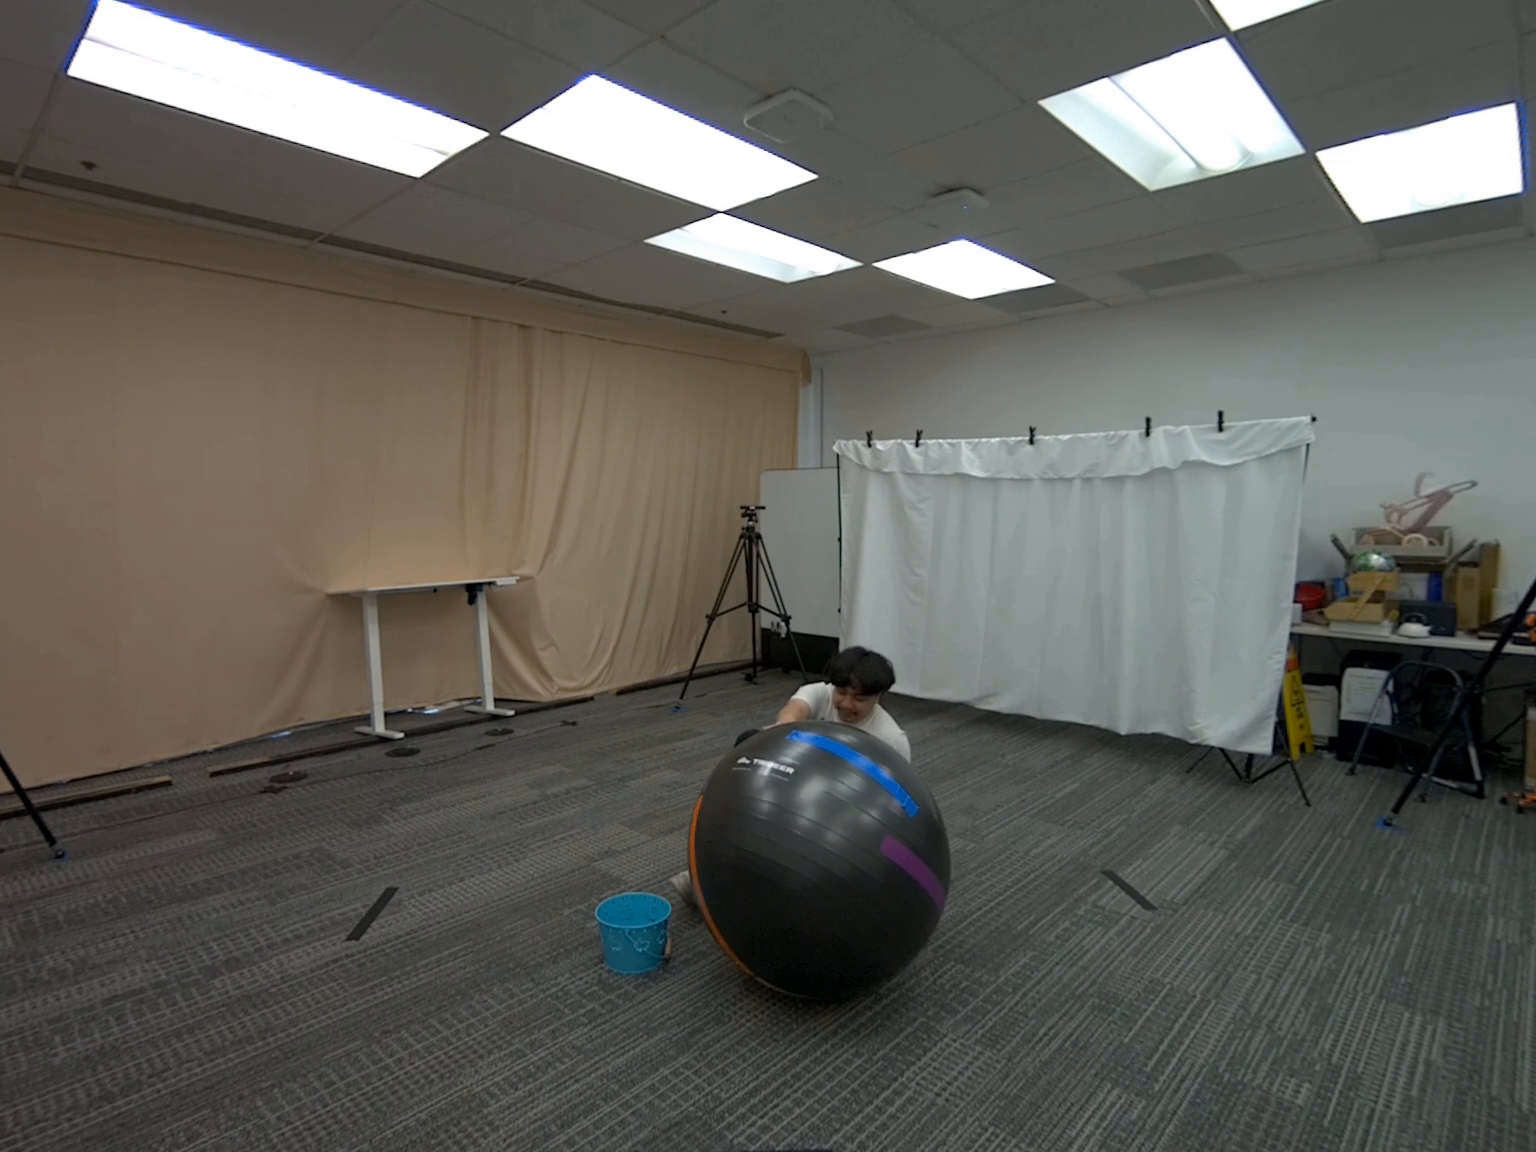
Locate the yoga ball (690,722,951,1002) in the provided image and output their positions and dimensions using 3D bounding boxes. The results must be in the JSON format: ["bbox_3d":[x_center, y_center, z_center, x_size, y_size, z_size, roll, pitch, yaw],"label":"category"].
[{"bbox_3d":[0.145,0.818,2.477,0.757,0.756,0.760,0,4,-2],"label":"yoga ball"}]
